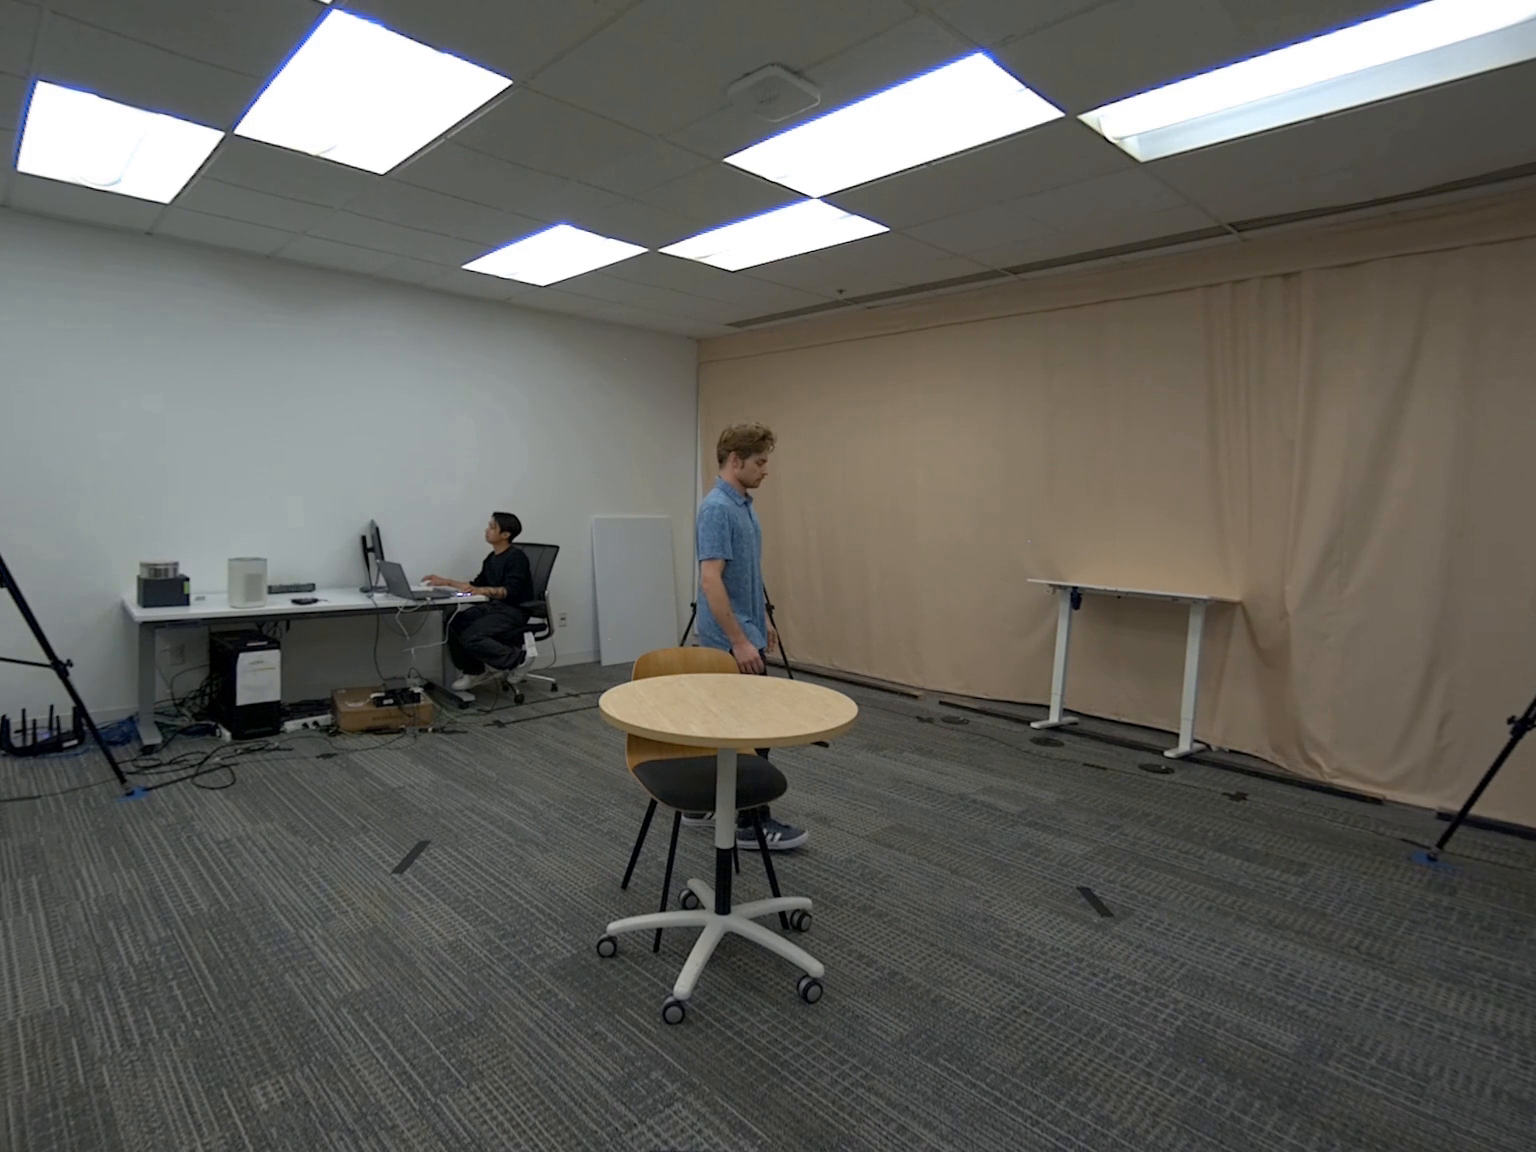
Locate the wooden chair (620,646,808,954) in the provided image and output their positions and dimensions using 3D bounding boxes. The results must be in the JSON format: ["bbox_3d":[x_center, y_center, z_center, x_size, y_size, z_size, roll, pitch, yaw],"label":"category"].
[{"bbox_3d":[-0.221,0.706,2.816,0.470,0.878,0.532,0,0,-23],"label":"wooden chair"}]
